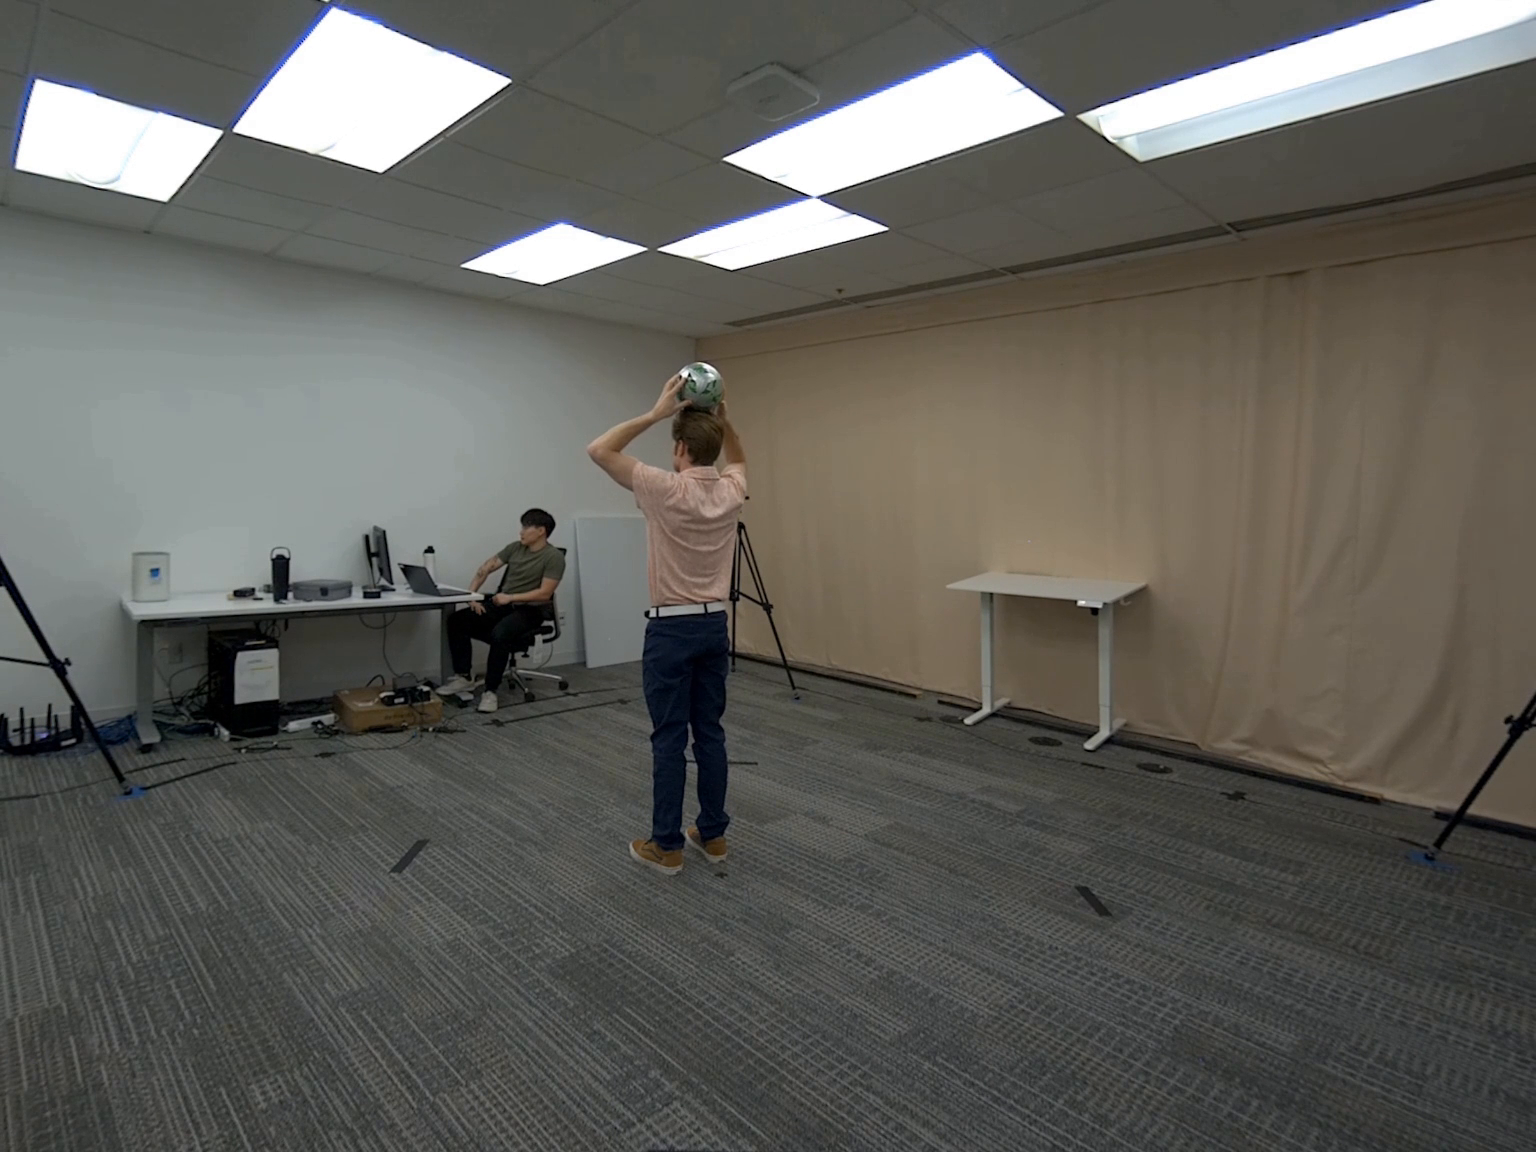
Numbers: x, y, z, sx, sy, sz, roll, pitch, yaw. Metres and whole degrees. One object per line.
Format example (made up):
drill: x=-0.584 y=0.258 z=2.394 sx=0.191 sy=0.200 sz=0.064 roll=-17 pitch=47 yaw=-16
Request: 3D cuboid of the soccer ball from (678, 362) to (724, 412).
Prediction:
soccer ball: x=-0.266 y=-0.691 z=3.144 sx=0.187 sy=0.187 sz=0.188 roll=1 pitch=4 yaw=-1
